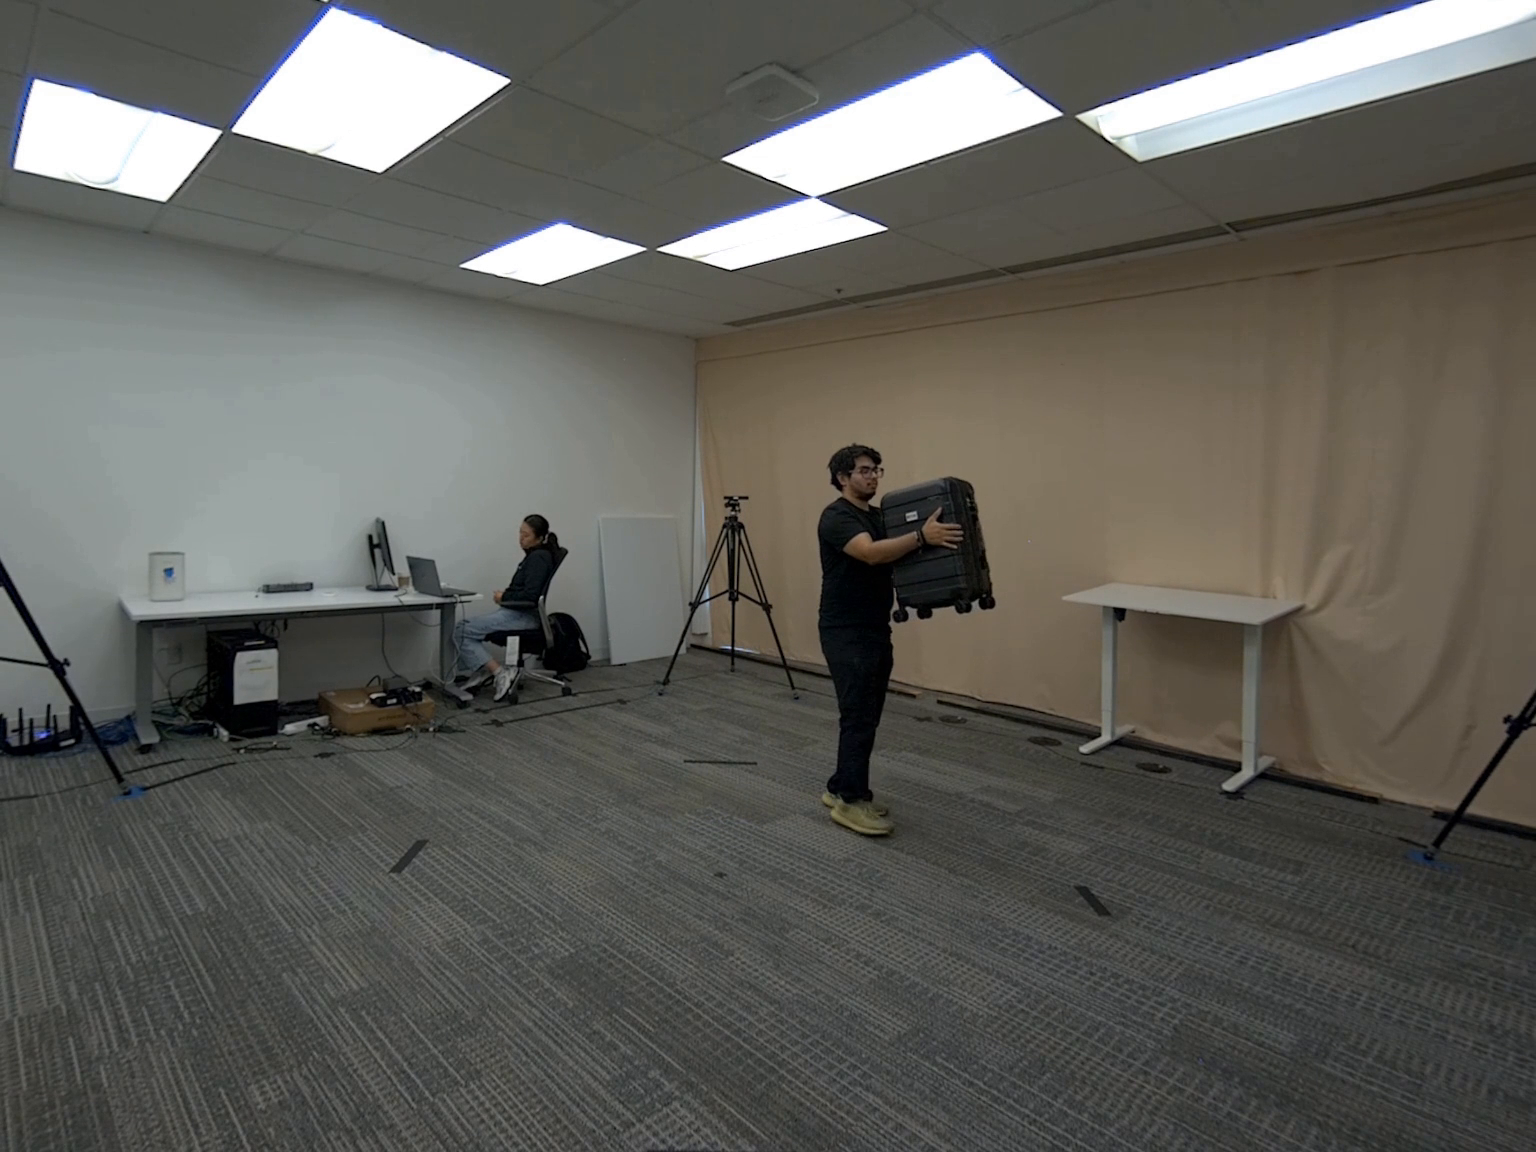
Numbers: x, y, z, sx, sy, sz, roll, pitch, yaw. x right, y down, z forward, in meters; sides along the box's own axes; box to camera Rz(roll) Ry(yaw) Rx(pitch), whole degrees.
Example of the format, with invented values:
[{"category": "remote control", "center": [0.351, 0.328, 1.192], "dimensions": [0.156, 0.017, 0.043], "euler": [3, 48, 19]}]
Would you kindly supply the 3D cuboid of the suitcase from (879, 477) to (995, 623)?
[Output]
[{"category": "suitcase", "center": [0.672, -0.114, 3.405], "dimensions": [0.243, 0.552, 0.382], "euler": [-3, -7, -45]}]
